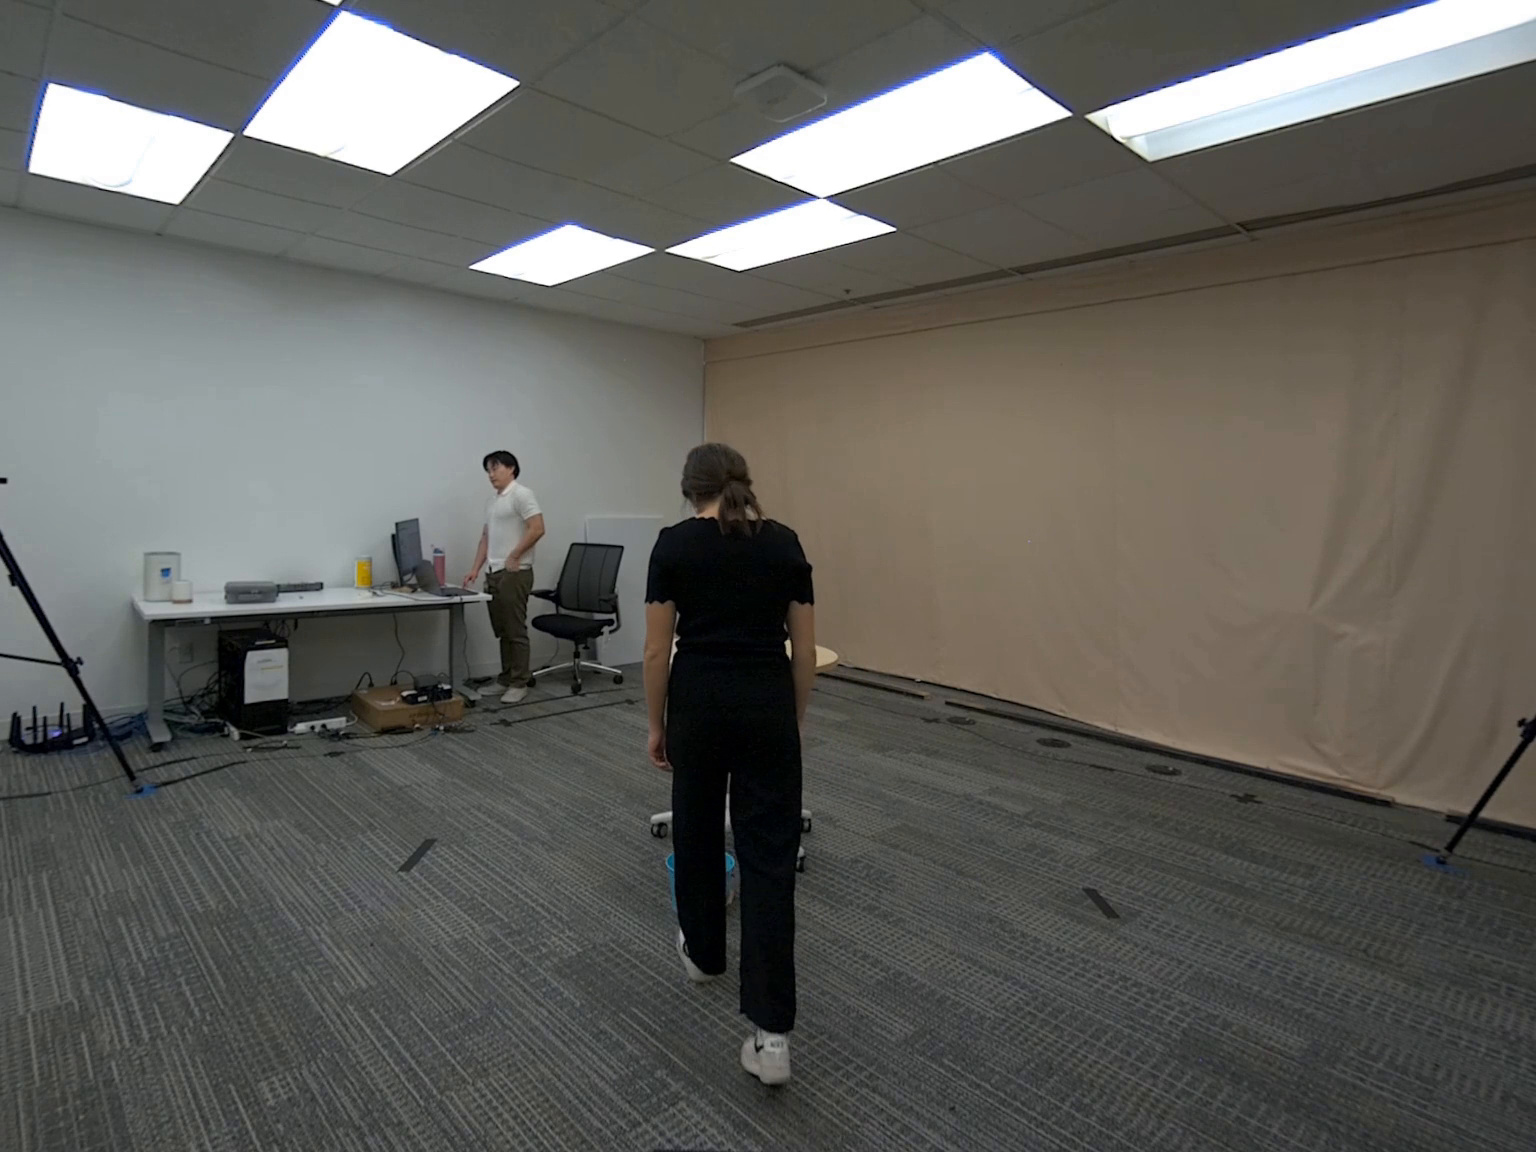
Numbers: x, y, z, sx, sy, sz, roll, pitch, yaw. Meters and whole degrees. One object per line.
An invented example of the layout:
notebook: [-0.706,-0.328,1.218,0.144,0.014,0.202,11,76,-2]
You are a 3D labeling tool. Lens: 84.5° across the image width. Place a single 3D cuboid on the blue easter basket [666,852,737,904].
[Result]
blue easter basket: [-0.238,1.049,2.869,0.243,0.155,0.244,1,5,-1]
